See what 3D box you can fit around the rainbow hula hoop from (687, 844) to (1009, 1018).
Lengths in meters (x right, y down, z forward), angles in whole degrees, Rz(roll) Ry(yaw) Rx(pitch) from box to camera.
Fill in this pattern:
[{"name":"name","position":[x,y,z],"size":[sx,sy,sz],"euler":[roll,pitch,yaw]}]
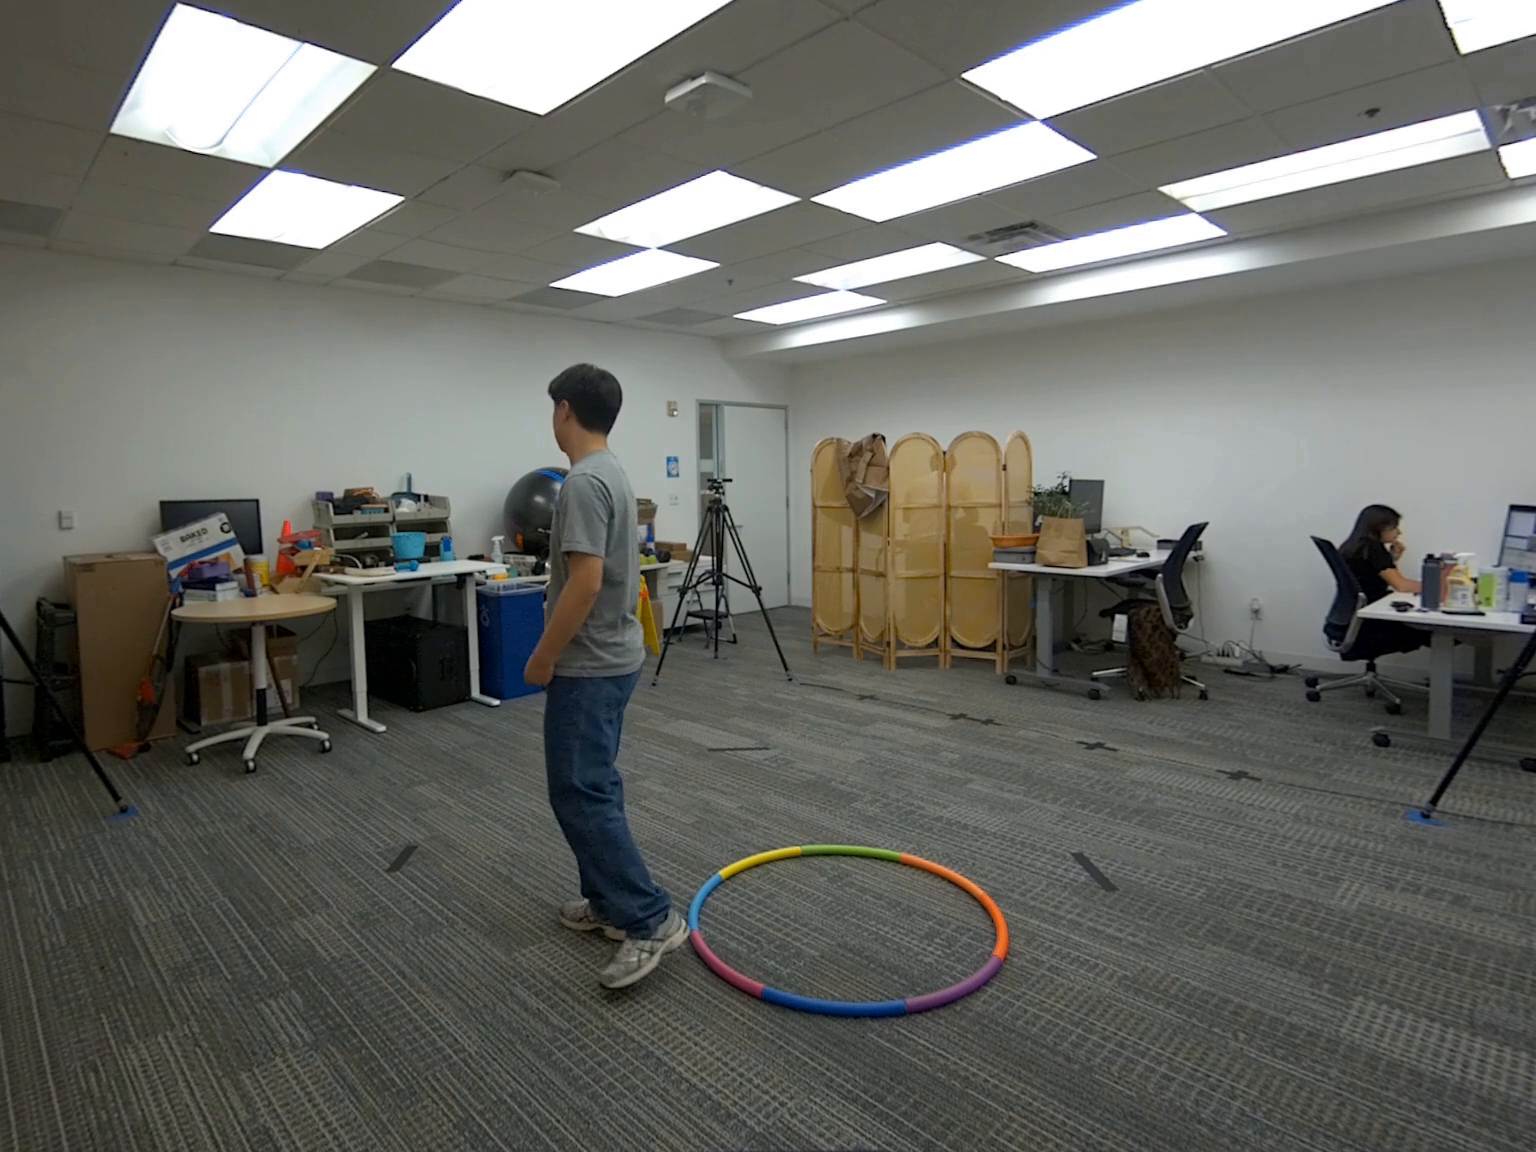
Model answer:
[{"name":"rainbow hula hoop","position":[0.236,1.060,2.698],"size":[0.978,0.035,0.984],"euler":[-2,7,-2]}]
